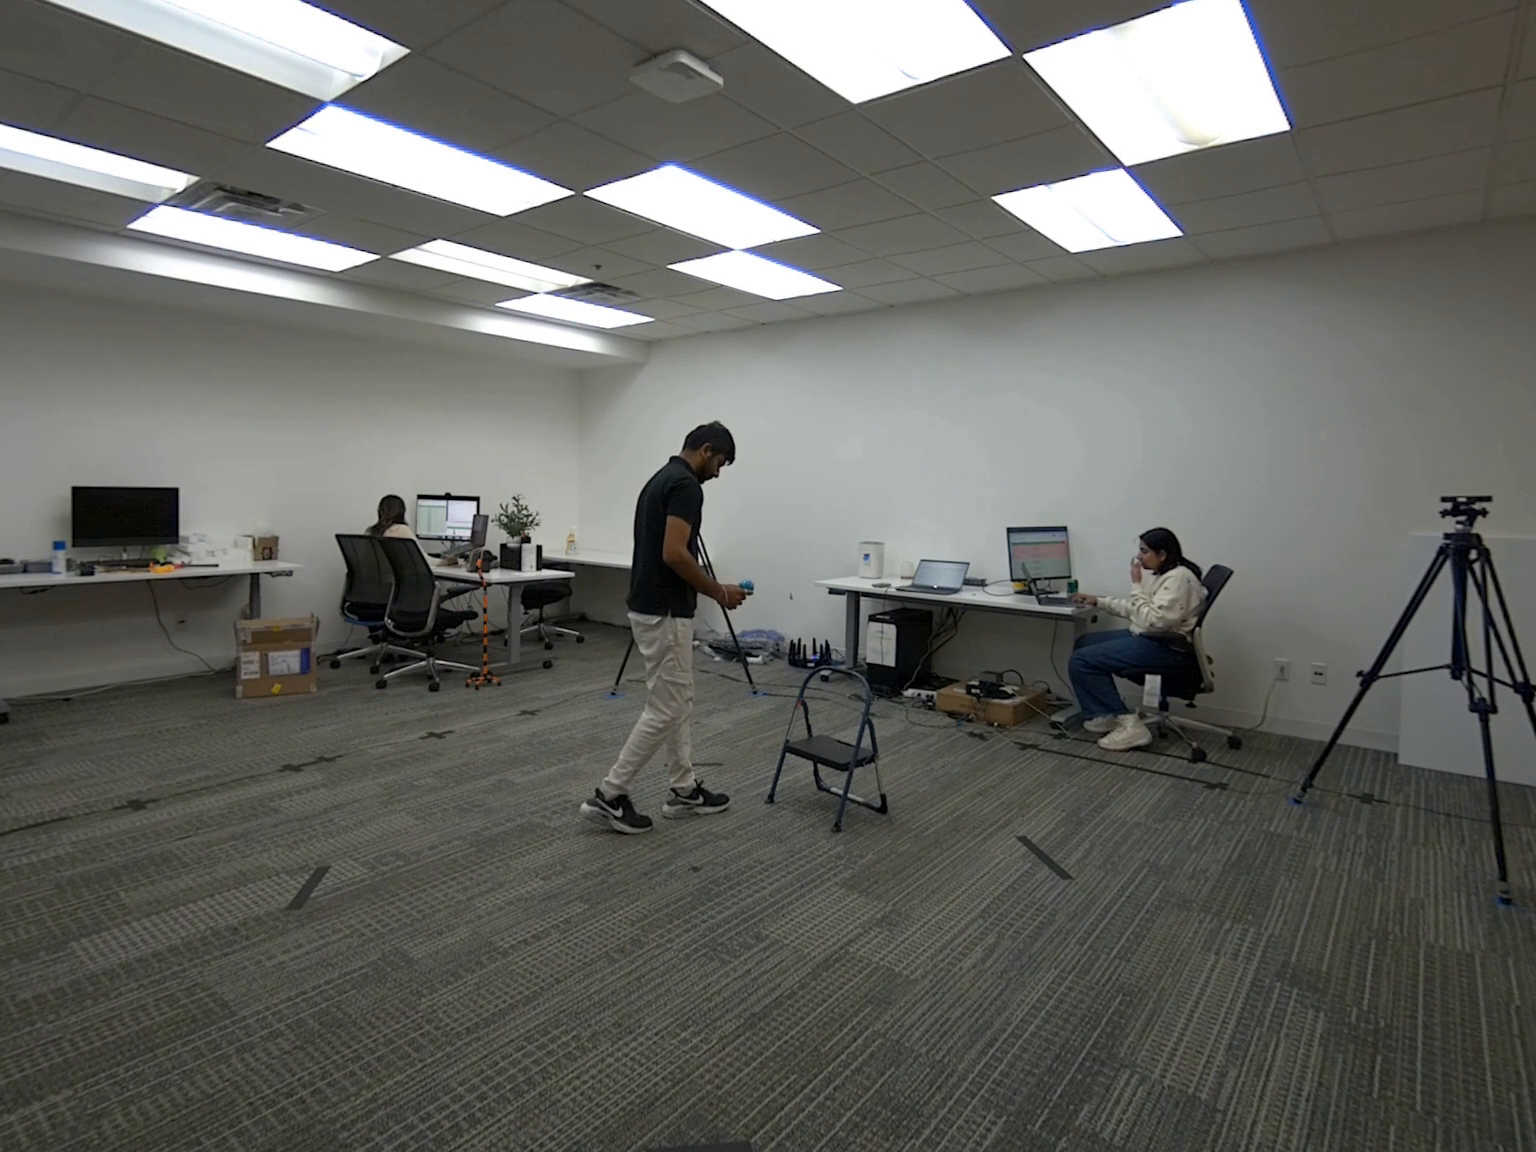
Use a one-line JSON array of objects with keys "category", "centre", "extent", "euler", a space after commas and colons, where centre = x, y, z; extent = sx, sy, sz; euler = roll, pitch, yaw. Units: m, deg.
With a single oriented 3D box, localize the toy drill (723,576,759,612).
[{"category": "toy drill", "centre": [-0.128, 0.070, 3.525], "extent": [0.146, 0.062, 0.168], "euler": [-41, -5, 6]}]
